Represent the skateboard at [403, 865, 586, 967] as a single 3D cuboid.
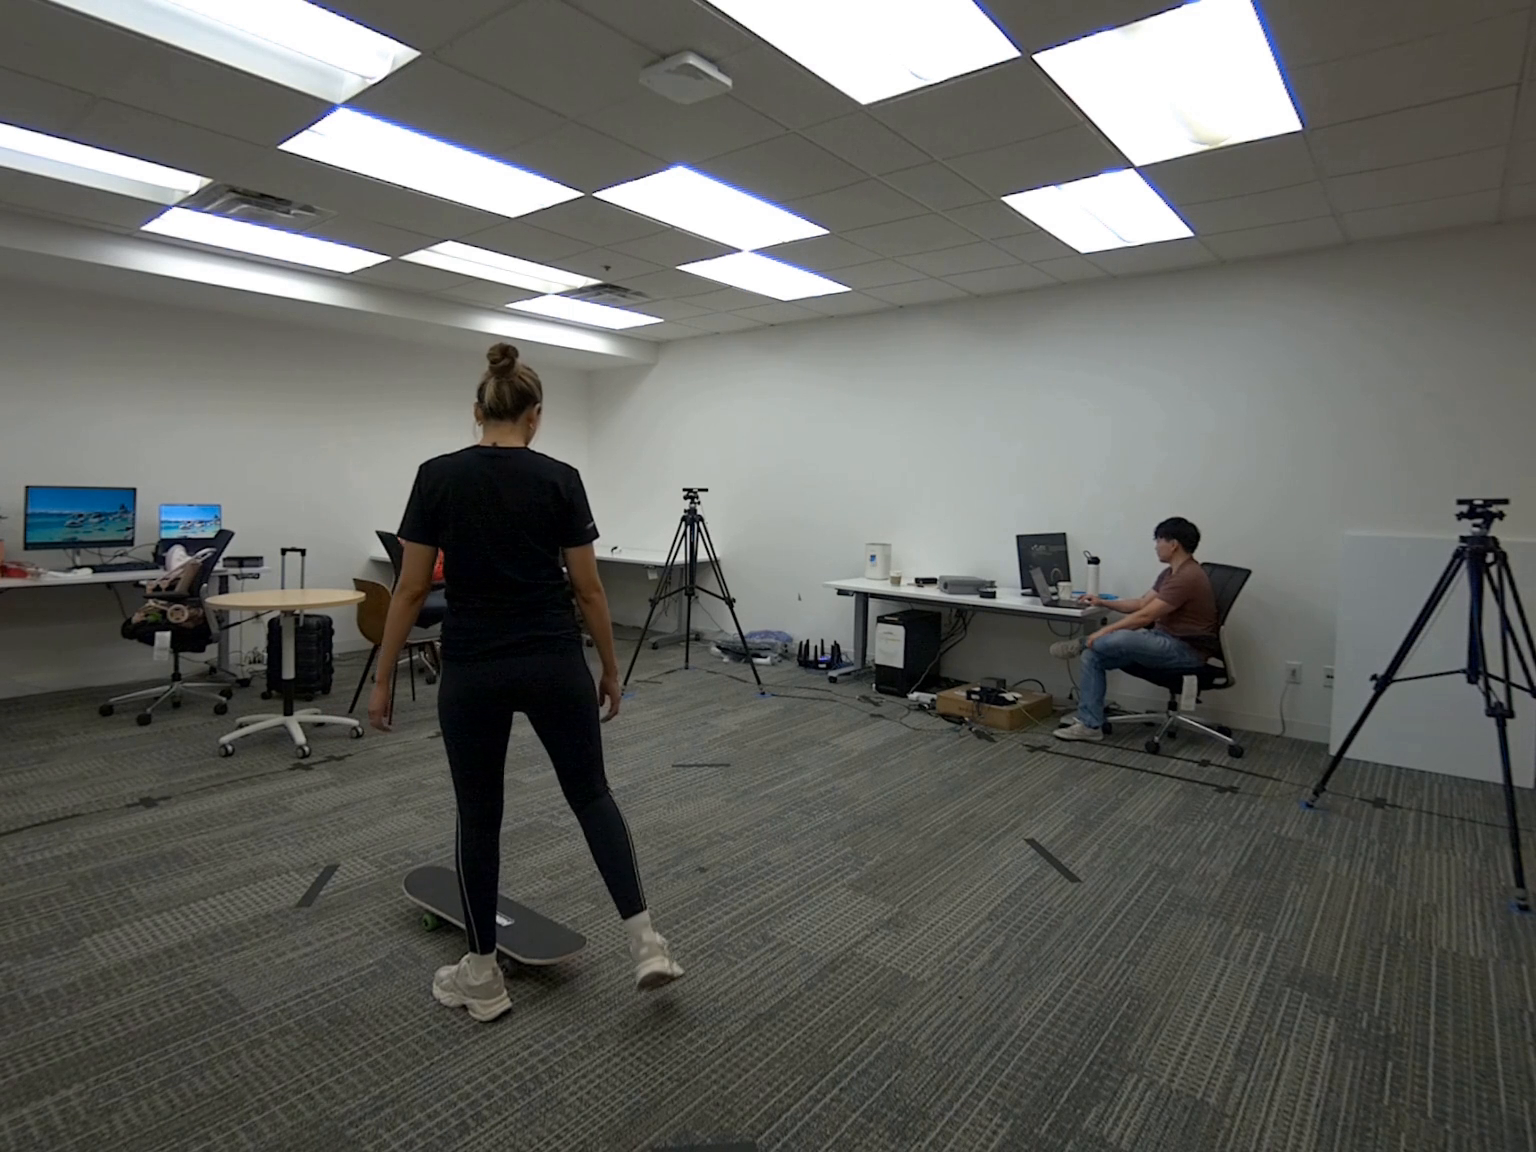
[{"bbox_3d":[-0.859,1.050,2.588,0.811,0.110,0.188,5,7,37],"label":"skateboard"}]
